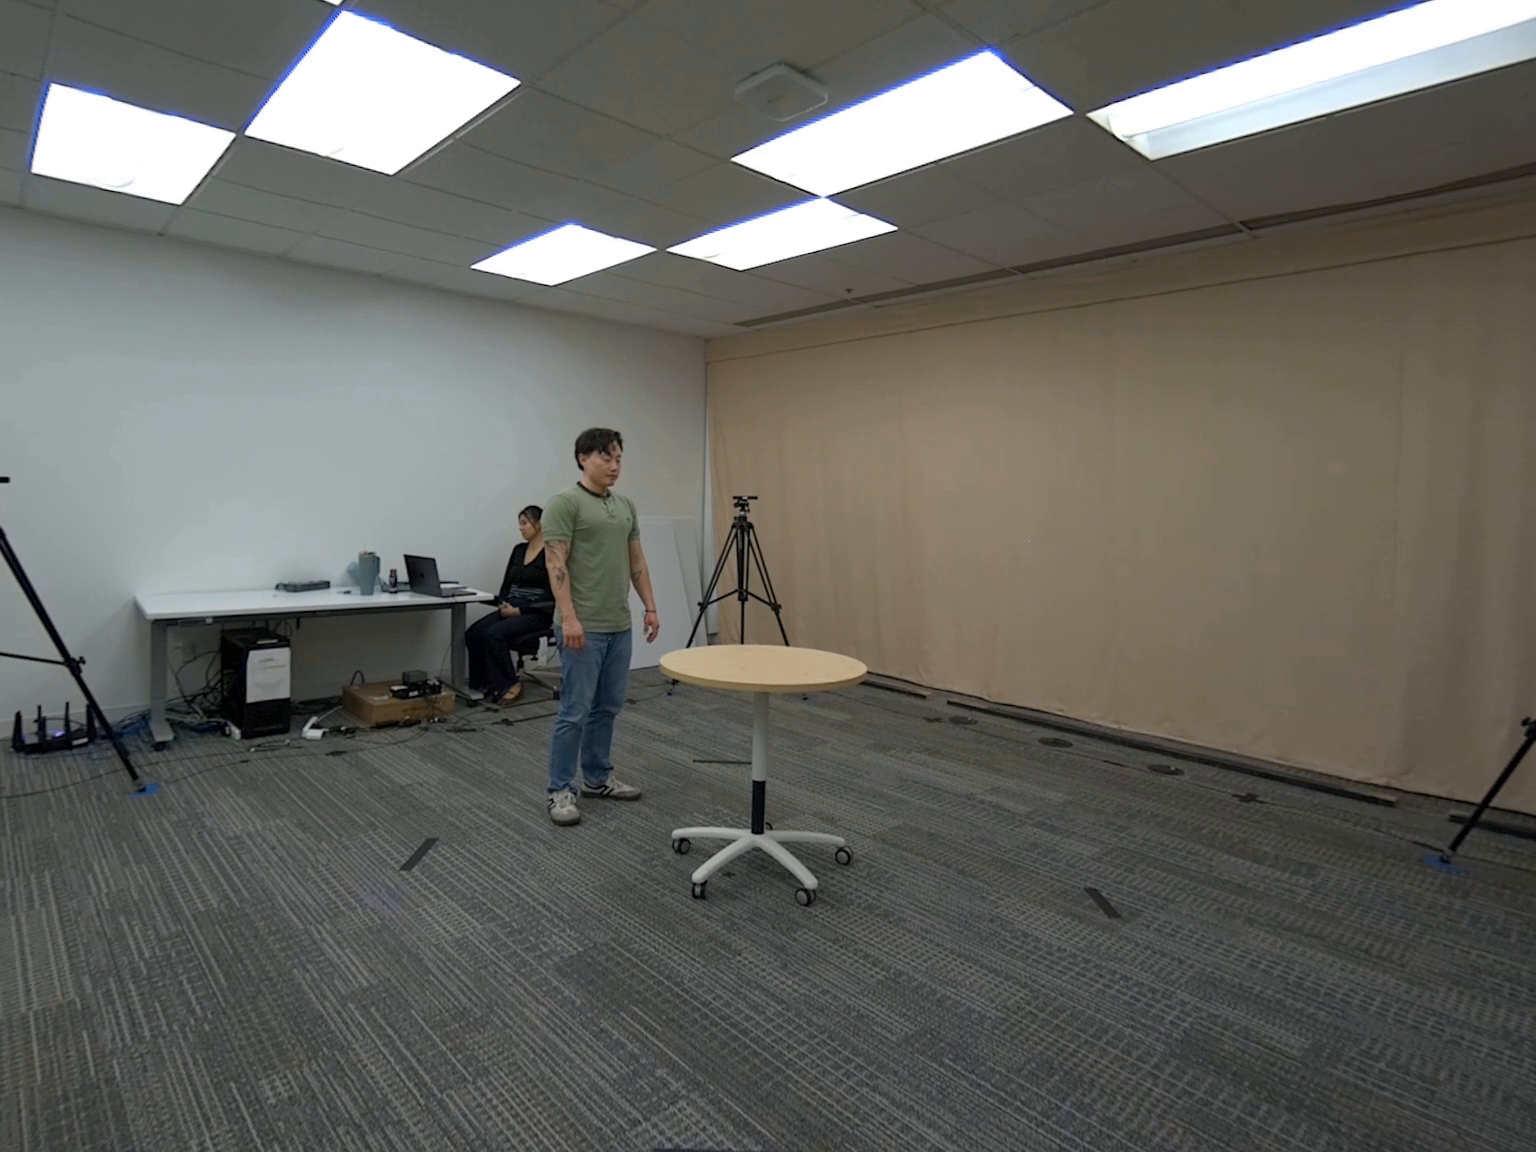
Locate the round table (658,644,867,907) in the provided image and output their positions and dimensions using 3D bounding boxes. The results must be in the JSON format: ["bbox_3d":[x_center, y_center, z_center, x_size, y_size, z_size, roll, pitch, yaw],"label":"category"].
[{"bbox_3d":[-0.037,0.715,3.131,0.763,0.792,0.766,1,4,-1],"label":"round table"}]
